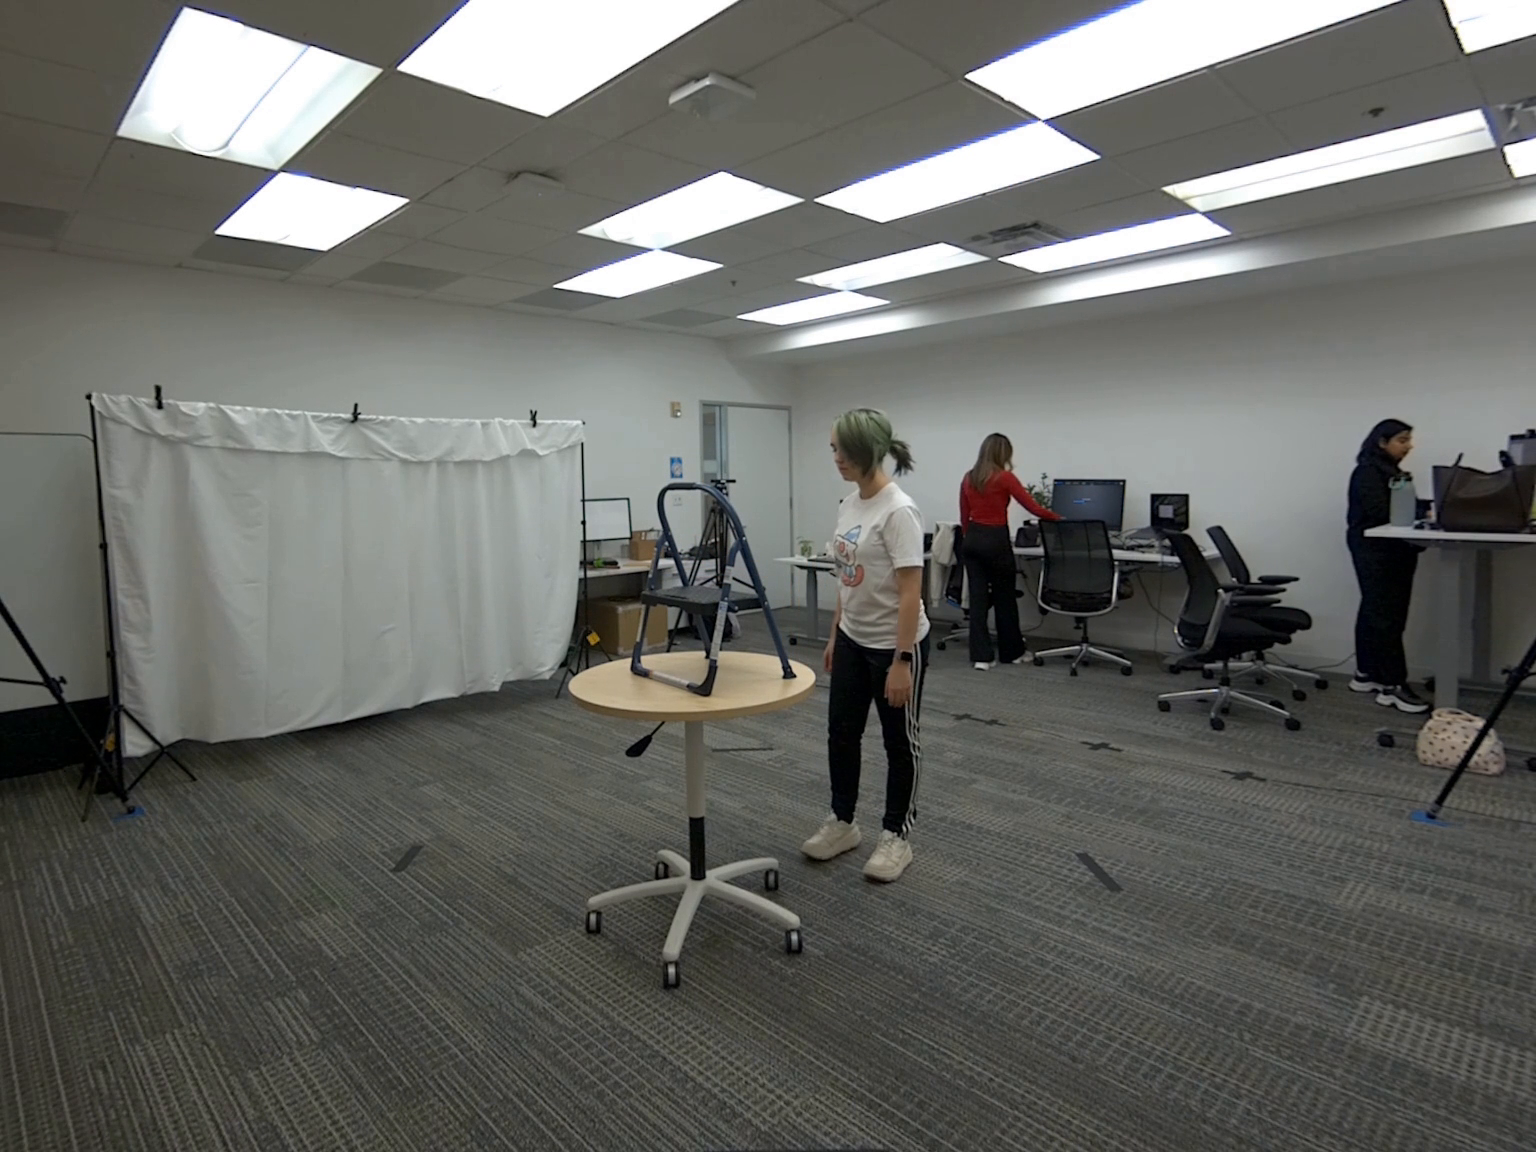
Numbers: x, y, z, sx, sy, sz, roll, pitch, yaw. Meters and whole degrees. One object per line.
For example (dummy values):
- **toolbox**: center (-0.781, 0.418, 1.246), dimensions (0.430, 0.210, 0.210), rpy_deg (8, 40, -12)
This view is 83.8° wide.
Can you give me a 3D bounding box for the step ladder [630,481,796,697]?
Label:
- **step ladder**: center (-0.187, 0.014, 2.665), dimensions (0.340, 0.604, 0.444), rpy_deg (-5, 6, -40)
